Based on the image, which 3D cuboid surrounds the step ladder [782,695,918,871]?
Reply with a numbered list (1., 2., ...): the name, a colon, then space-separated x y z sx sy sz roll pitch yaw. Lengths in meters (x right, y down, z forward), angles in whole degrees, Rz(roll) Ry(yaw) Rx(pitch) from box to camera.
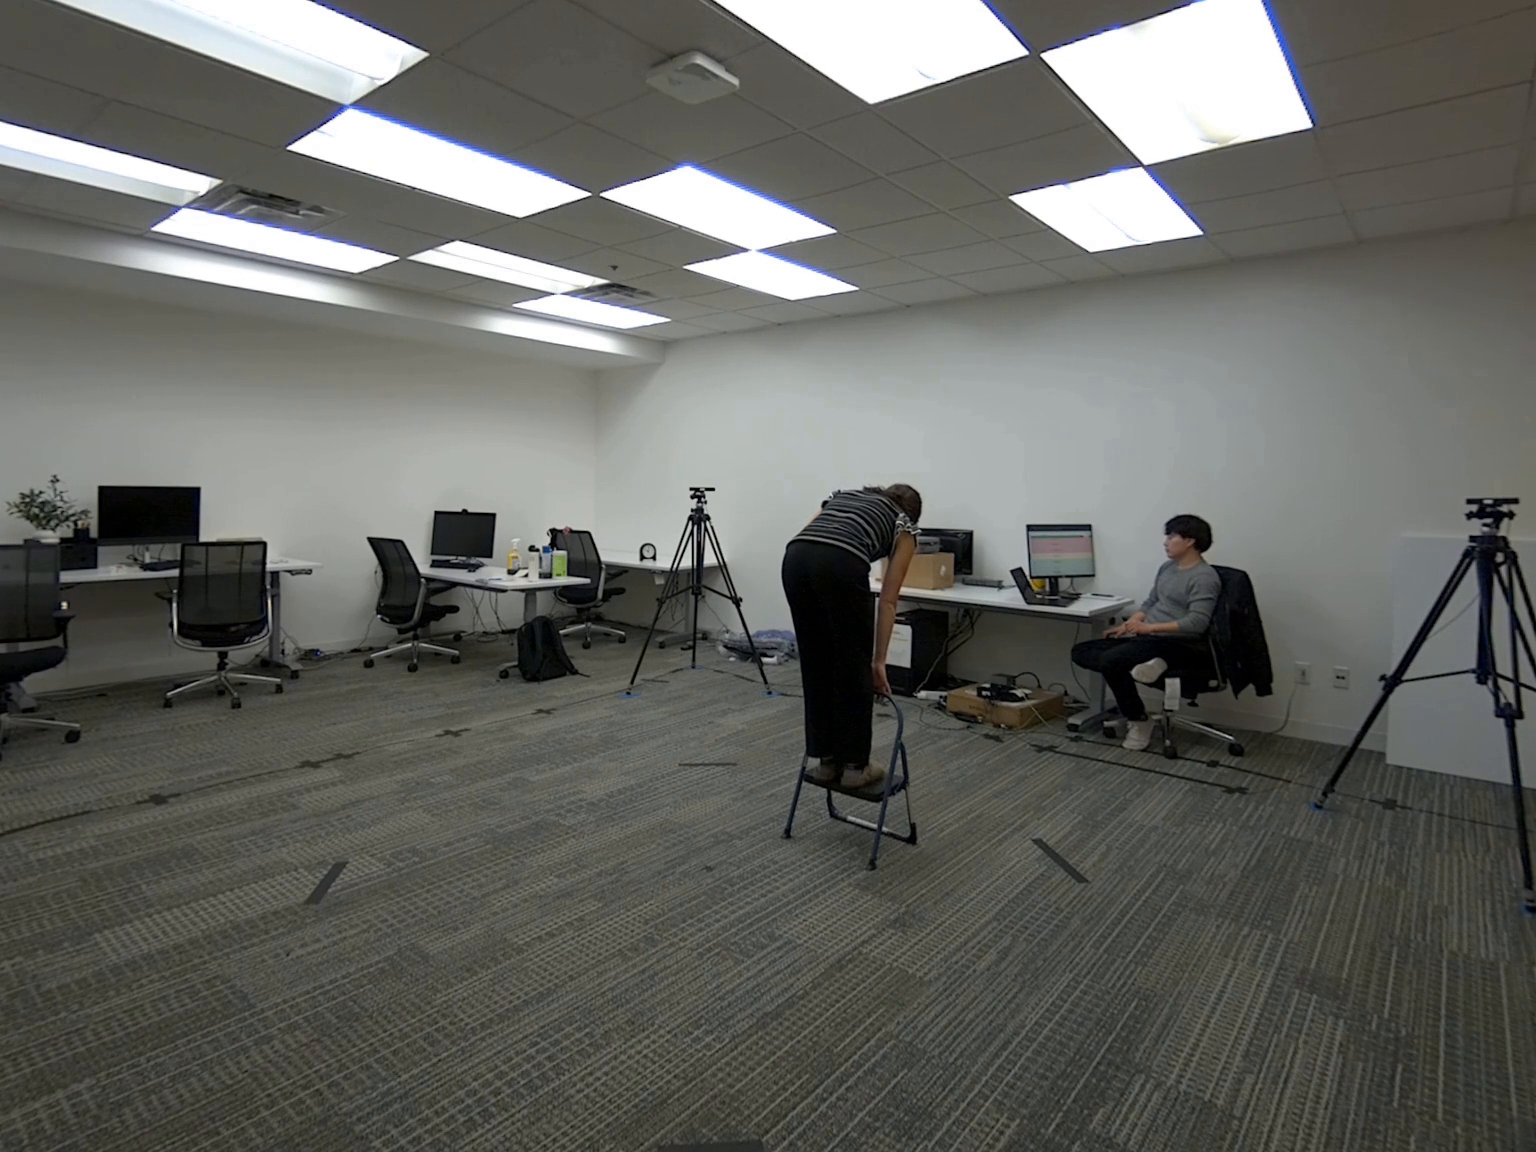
1. step ladder: 0.327 0.749 3.377 0.445 0.604 0.339 5 5 40
